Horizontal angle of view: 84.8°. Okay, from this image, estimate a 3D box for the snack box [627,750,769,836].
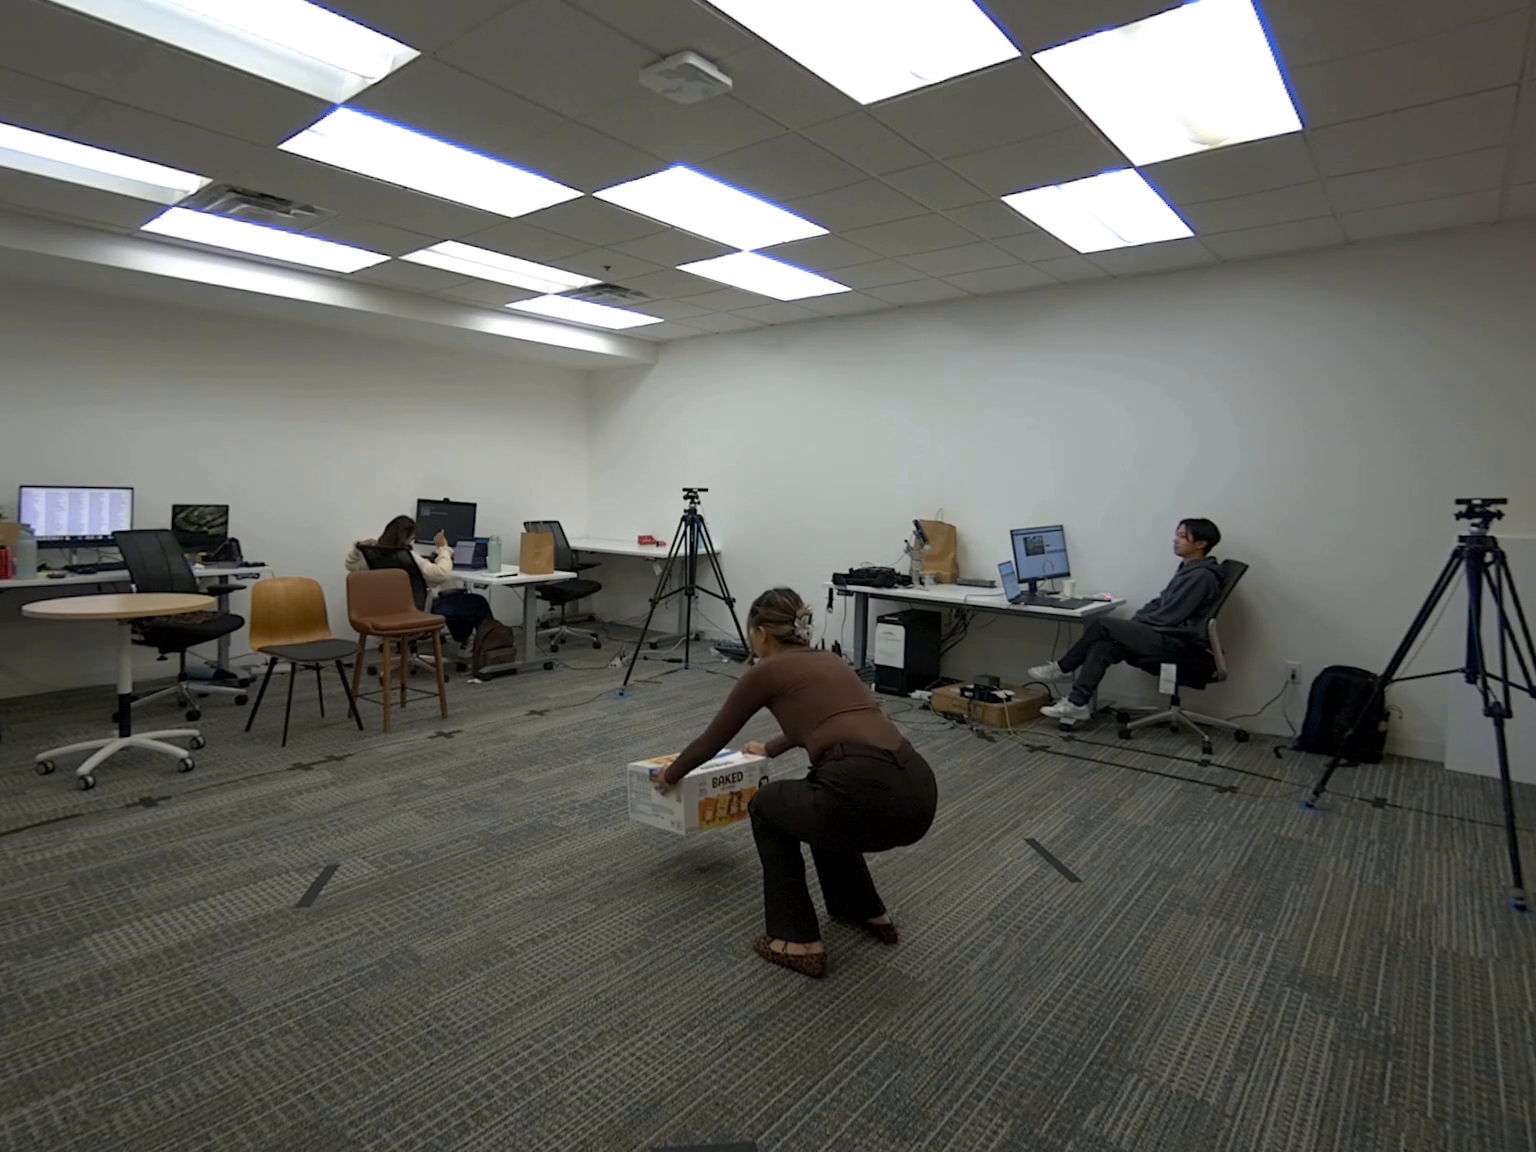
[{"bbox_3d":[-0.267,0.783,3.146,0.392,0.206,0.350,-2,-1,-43],"label":"snack box"}]
